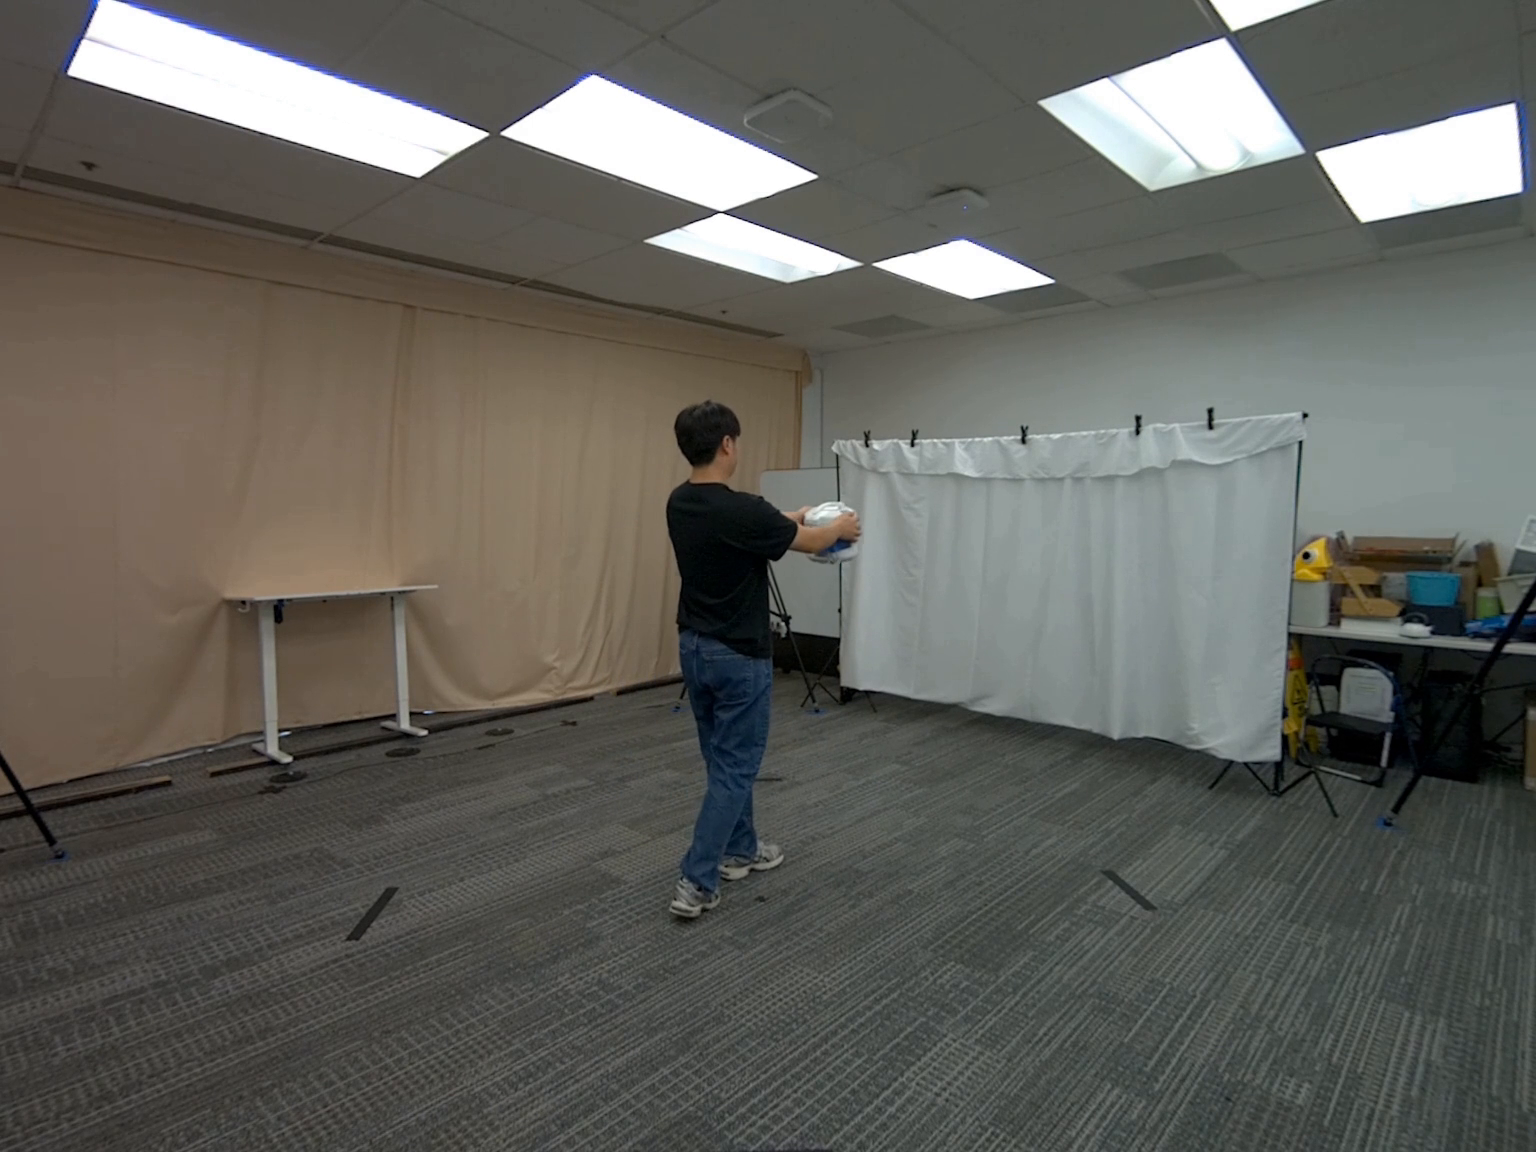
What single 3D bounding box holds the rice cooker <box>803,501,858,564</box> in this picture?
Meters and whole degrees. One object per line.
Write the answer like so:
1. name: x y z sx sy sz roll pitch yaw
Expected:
1. rice cooker: 0.247 -0.177 3.326 0.214 0.231 0.225 -10 13 -38
